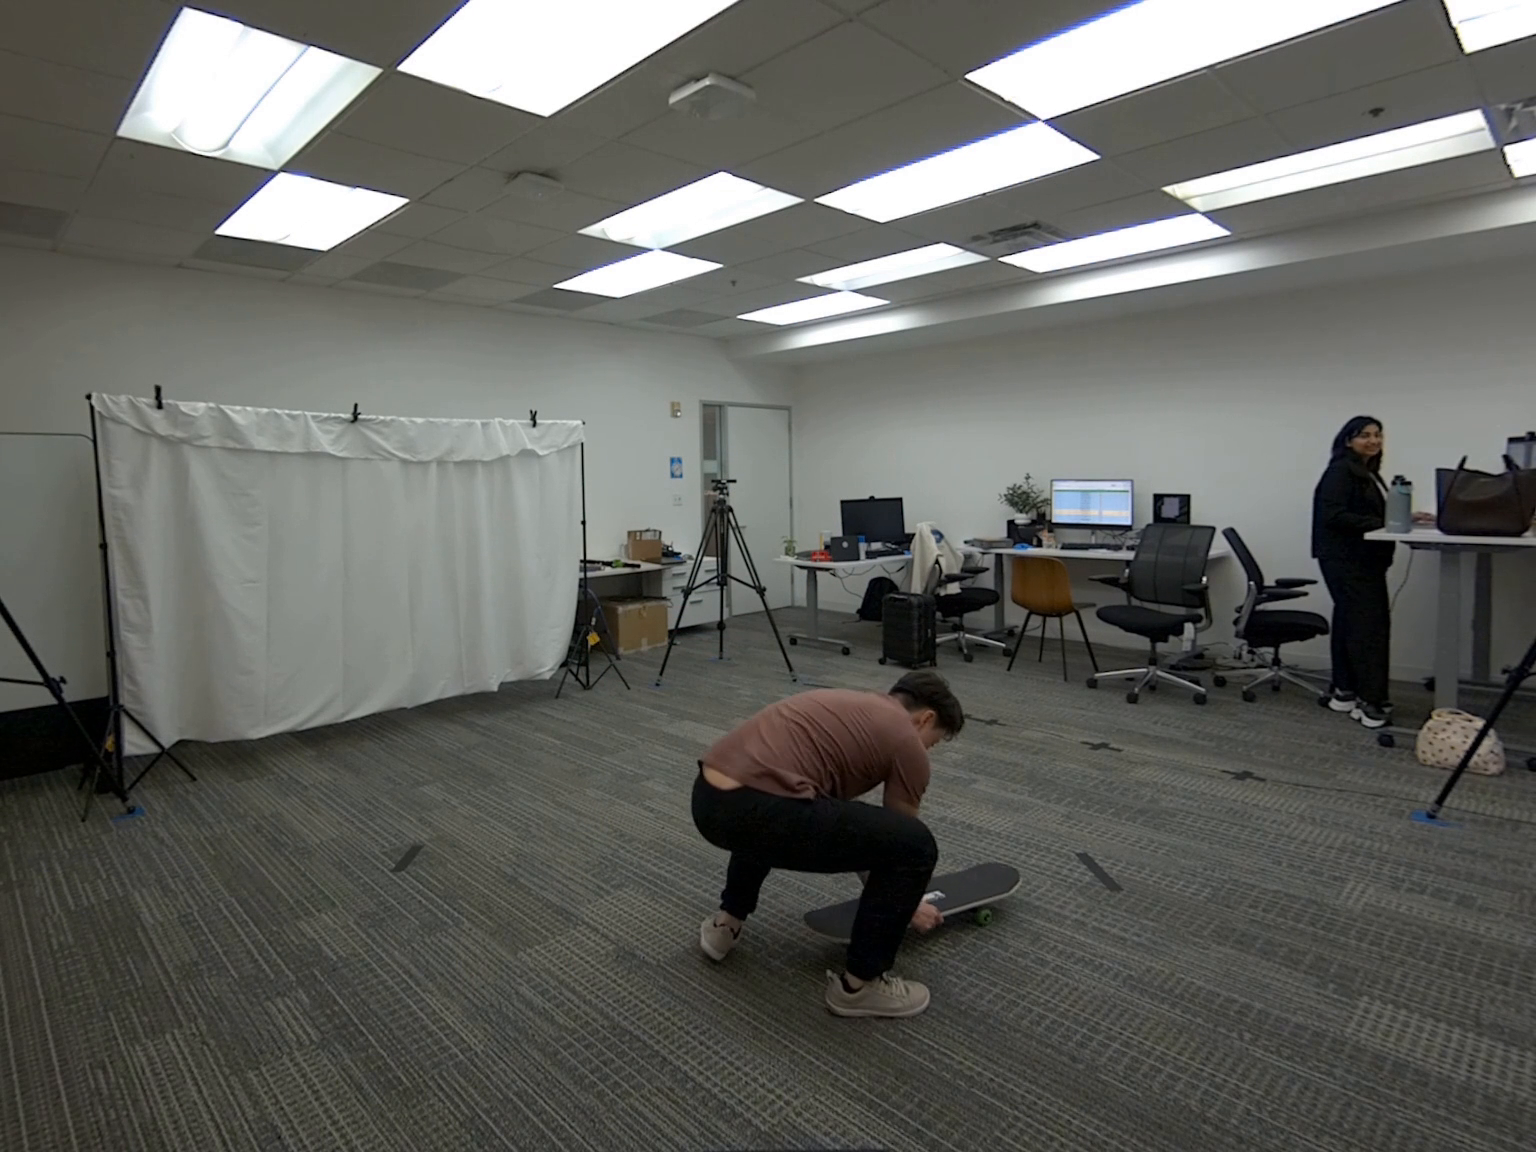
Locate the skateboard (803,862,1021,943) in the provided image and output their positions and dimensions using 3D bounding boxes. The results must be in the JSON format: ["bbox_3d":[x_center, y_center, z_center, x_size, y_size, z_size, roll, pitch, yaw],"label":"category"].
[{"bbox_3d":[0.461,1.032,2.640,0.769,0.110,0.198,-5,7,-25],"label":"skateboard"}]
